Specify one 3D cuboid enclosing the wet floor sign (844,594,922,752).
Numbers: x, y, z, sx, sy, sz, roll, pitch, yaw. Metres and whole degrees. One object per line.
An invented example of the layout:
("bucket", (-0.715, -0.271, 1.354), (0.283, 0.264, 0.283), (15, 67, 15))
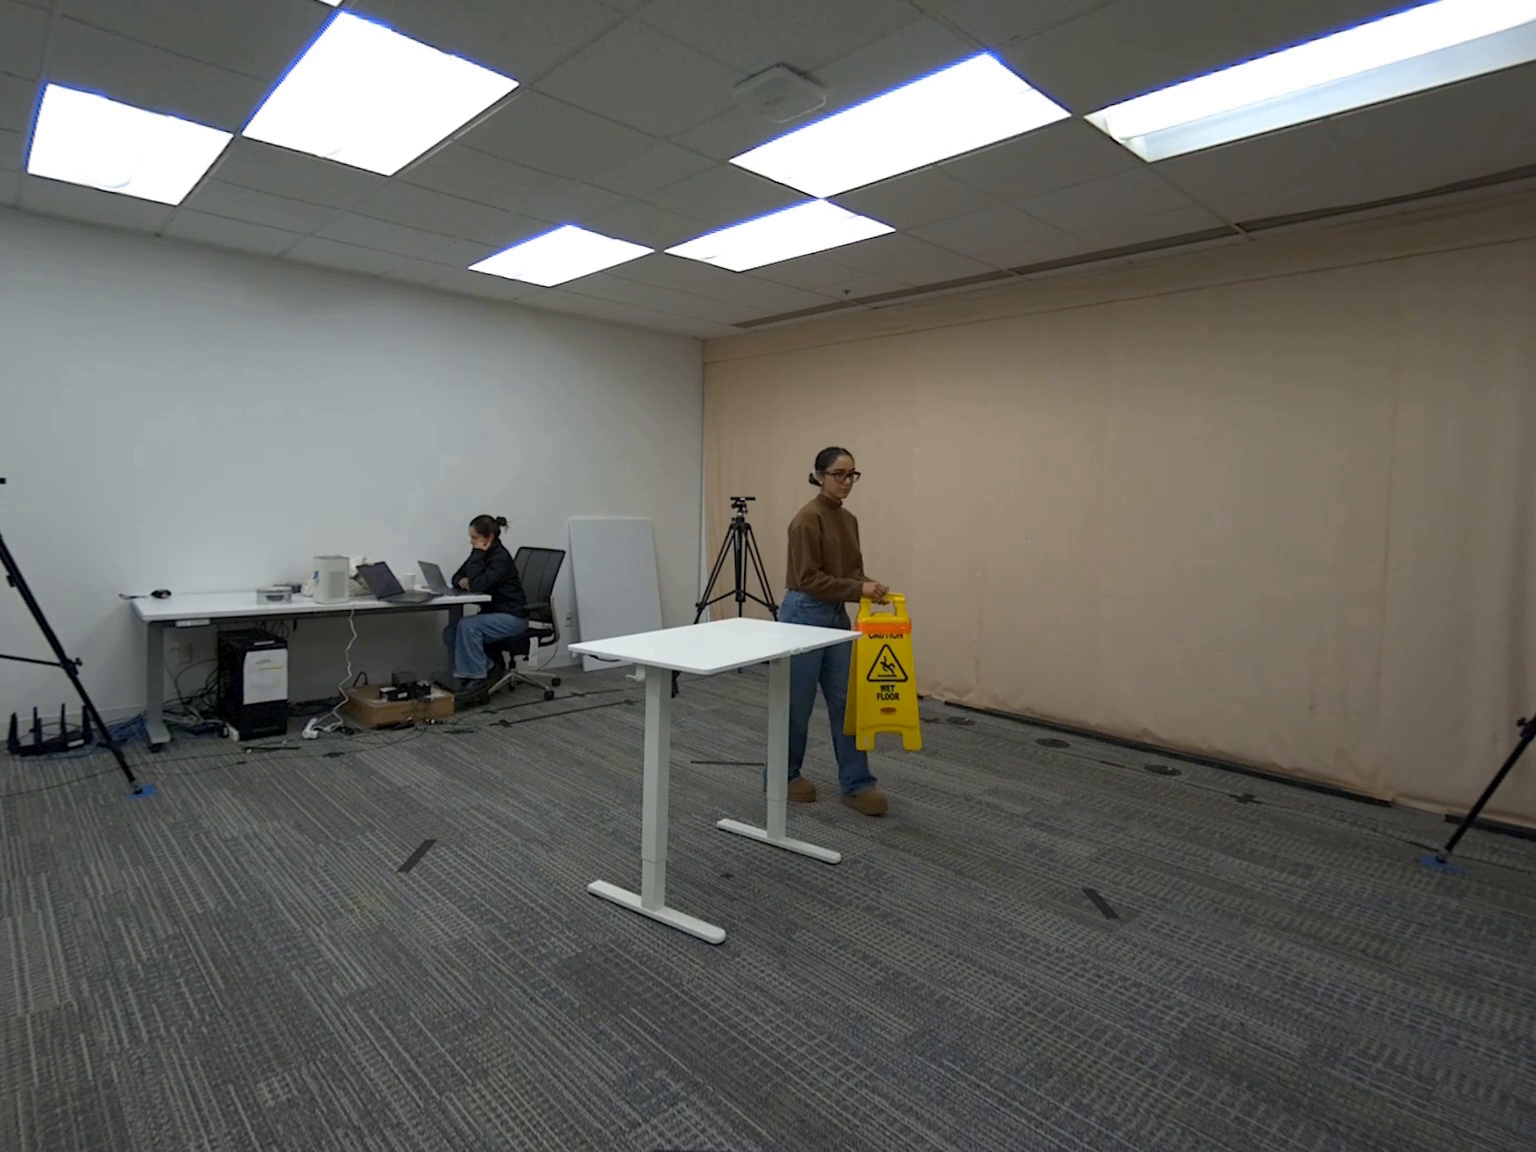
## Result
("wet floor sign", (0.492, 0.410, 3.676), (0.281, 0.645, 0.291), (2, 2, -6))
